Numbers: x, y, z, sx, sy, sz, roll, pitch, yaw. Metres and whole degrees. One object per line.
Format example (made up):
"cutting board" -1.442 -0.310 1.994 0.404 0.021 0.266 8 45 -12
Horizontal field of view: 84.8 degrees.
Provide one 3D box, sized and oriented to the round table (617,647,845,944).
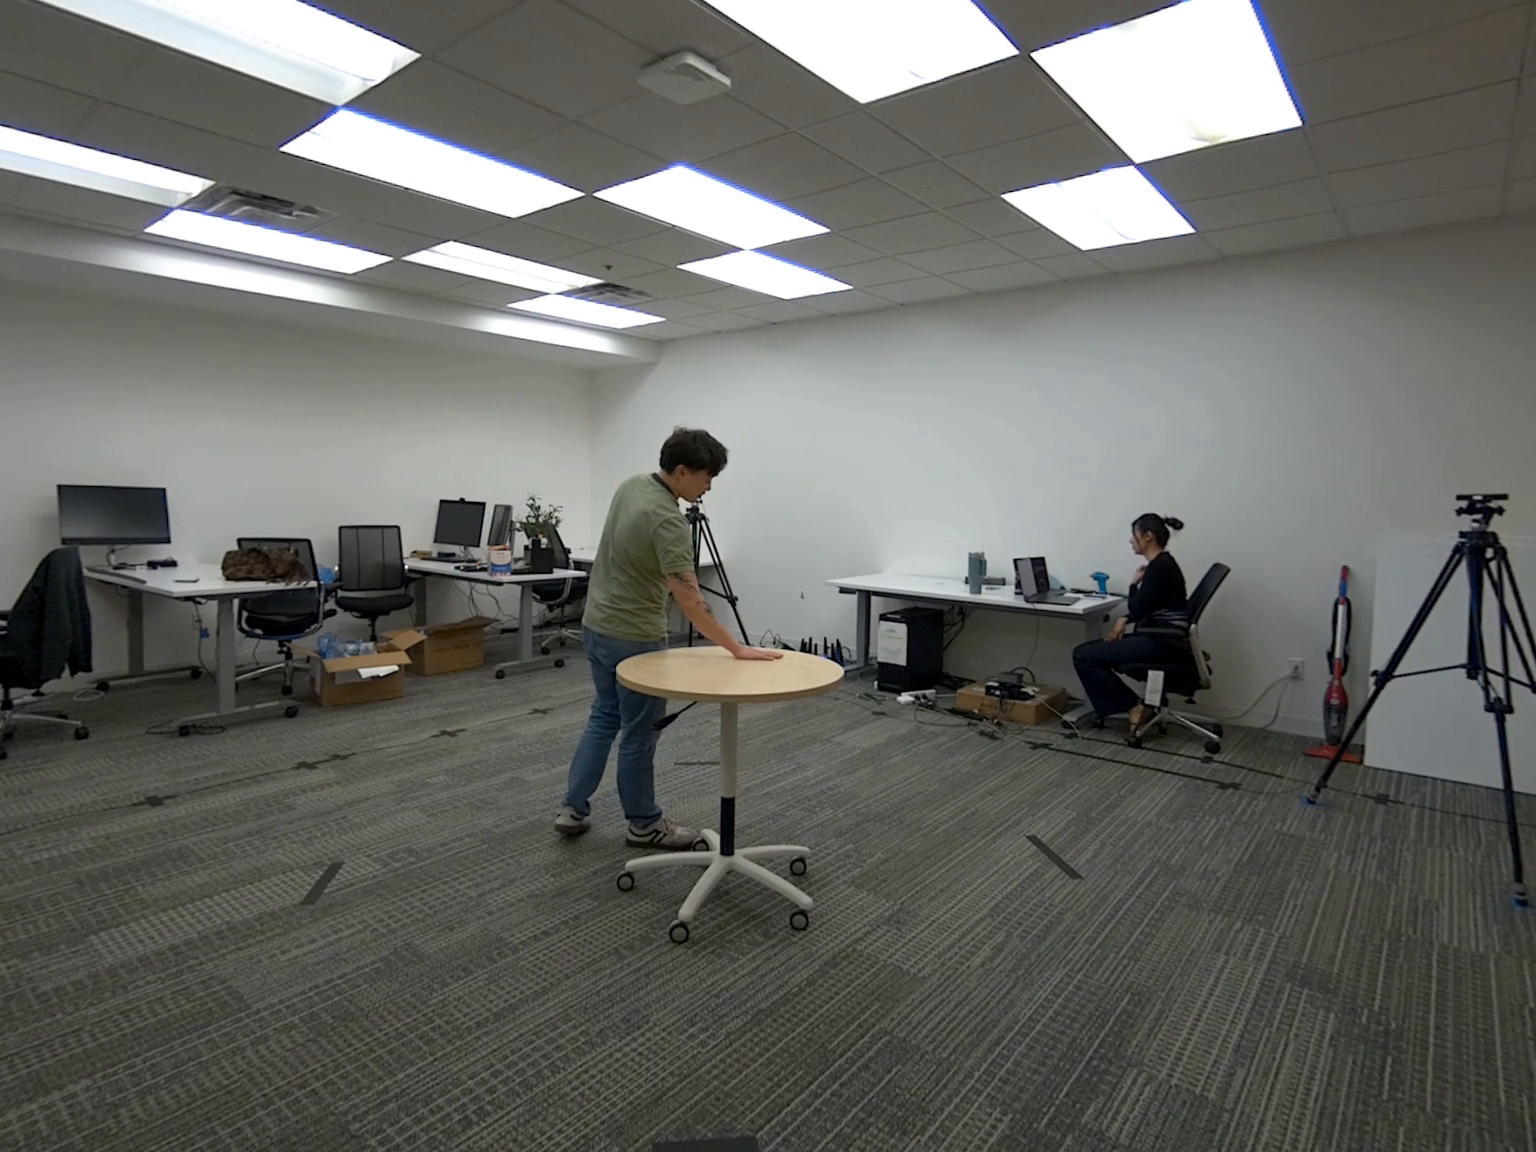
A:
"round table" -0.141 0.699 2.891 0.763 0.791 0.768 1 4 -2
